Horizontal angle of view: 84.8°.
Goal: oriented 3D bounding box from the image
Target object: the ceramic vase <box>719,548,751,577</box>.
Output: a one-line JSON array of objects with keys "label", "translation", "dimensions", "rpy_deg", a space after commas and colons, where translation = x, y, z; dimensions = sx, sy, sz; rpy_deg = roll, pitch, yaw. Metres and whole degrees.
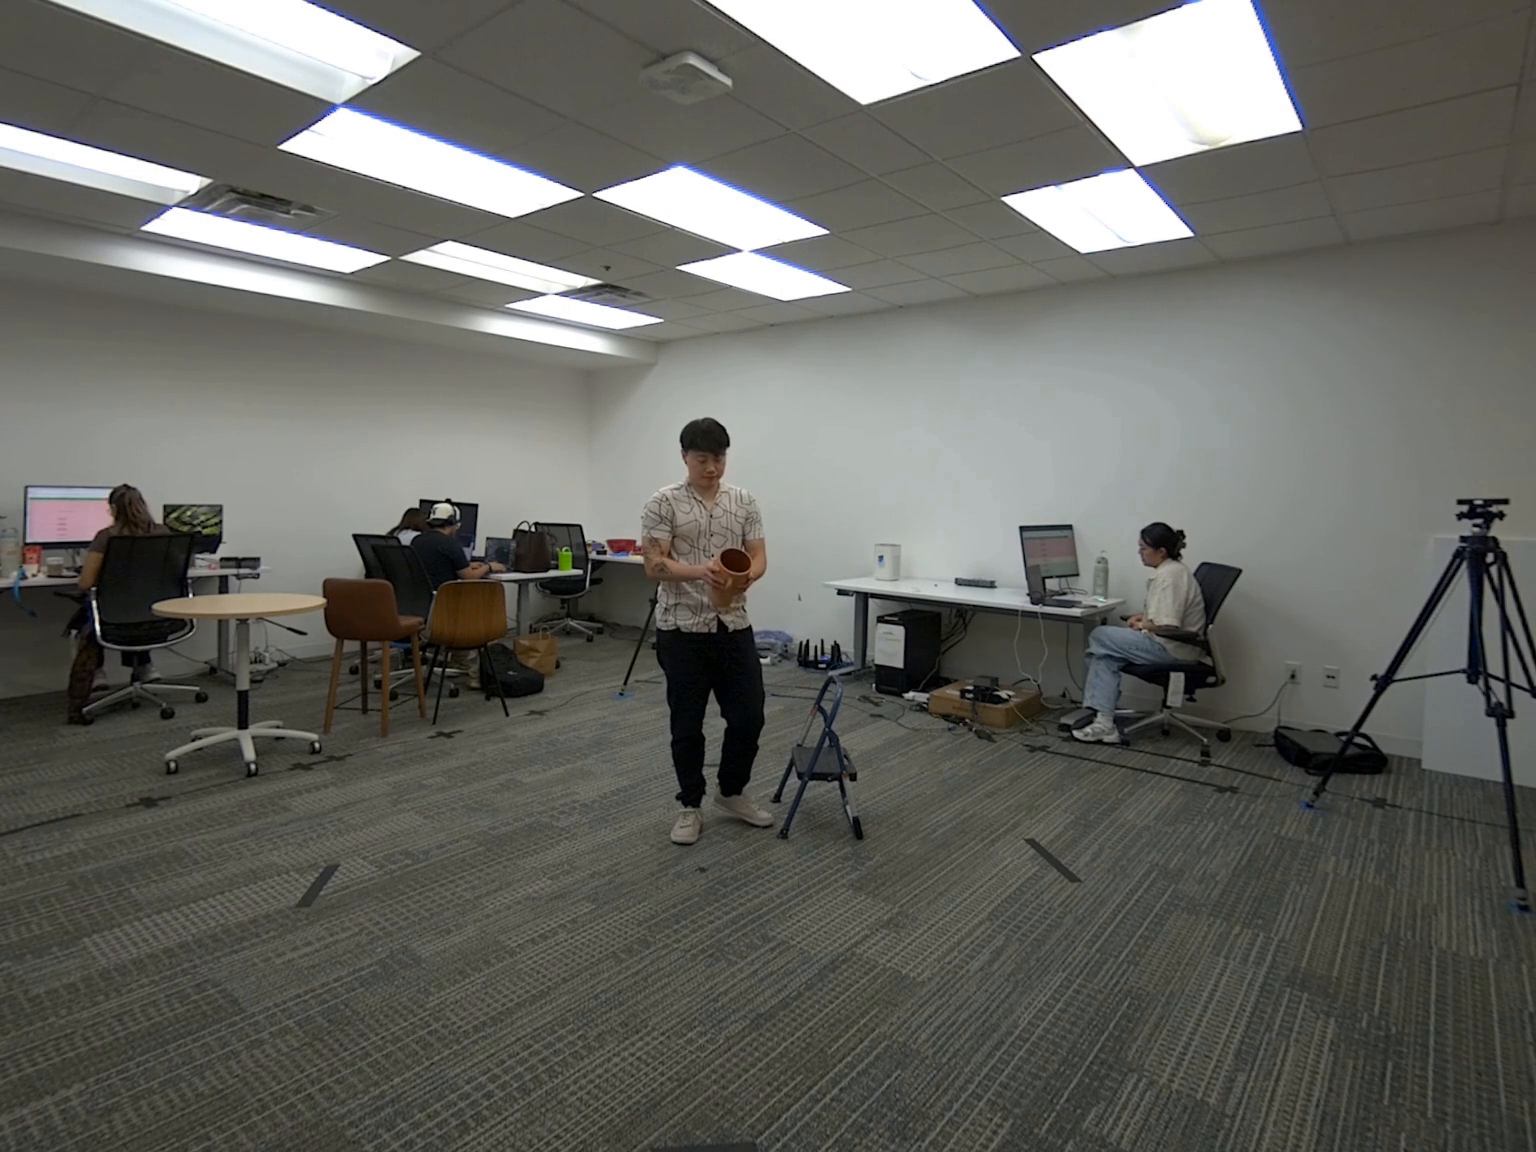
[{"label": "ceramic vase", "translation": [-0.140, 0.012, 3.165], "dimensions": [0.138, 0.216, 0.158], "rpy_deg": [34, 48, 14]}]
